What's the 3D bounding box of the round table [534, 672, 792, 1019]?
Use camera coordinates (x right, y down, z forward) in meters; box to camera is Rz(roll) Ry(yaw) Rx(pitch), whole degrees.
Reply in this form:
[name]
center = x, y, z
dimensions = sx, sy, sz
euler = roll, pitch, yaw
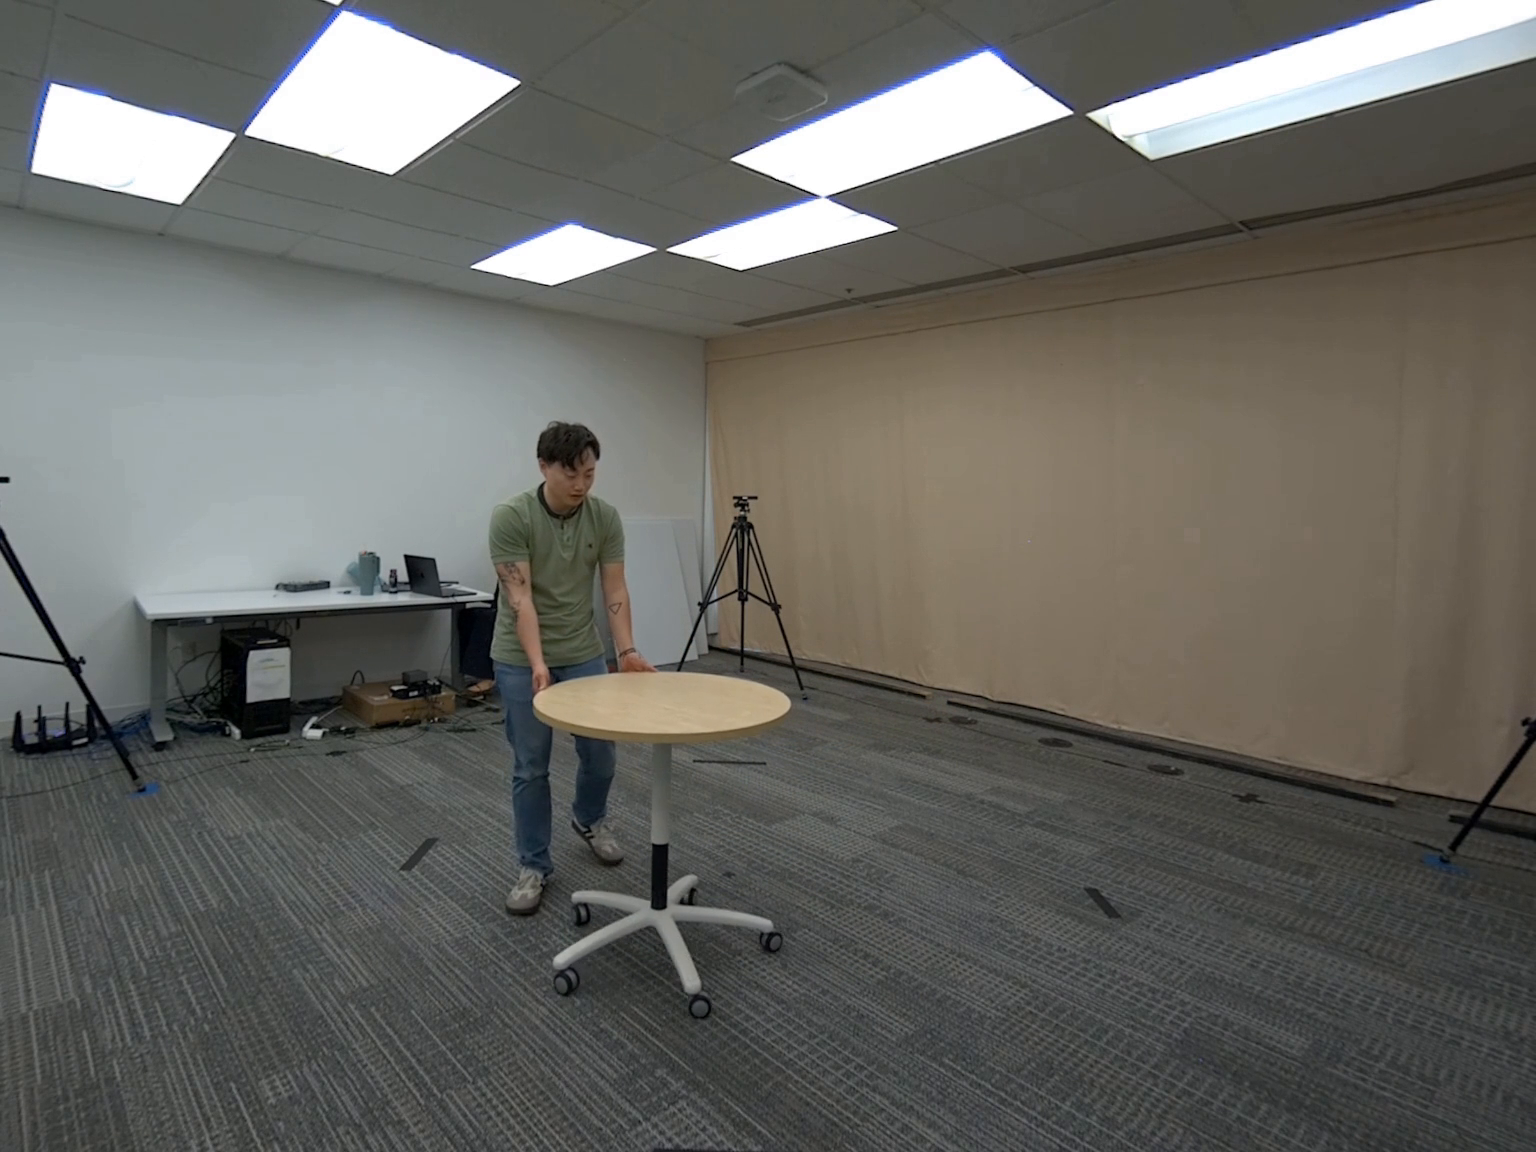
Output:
[round table]
center = -0.326, 0.764, 2.538
dimensions = 0.763, 0.792, 0.766
euler = 1, 4, -1
